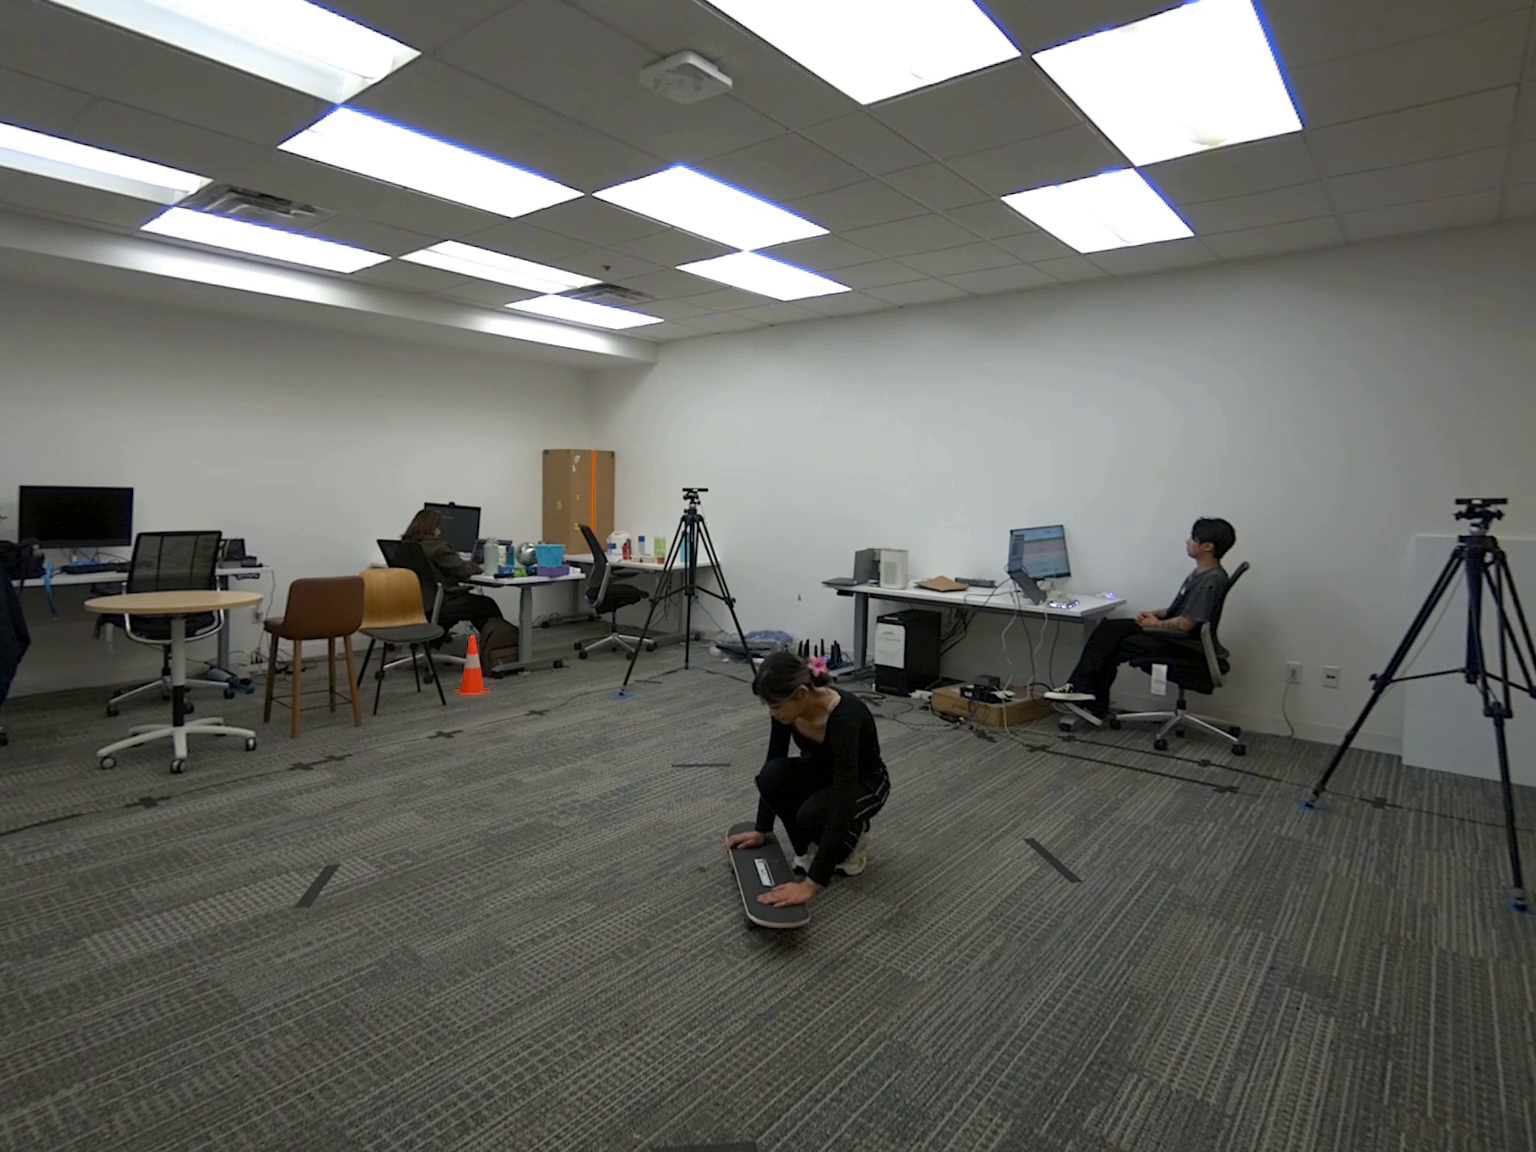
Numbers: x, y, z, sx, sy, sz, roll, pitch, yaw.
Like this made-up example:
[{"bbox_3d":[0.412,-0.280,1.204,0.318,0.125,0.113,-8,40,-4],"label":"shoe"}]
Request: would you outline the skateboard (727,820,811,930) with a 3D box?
[{"bbox_3d":[-0.023,1.036,2.904,0.192,0.110,0.794,0,5,-9],"label":"skateboard"}]
